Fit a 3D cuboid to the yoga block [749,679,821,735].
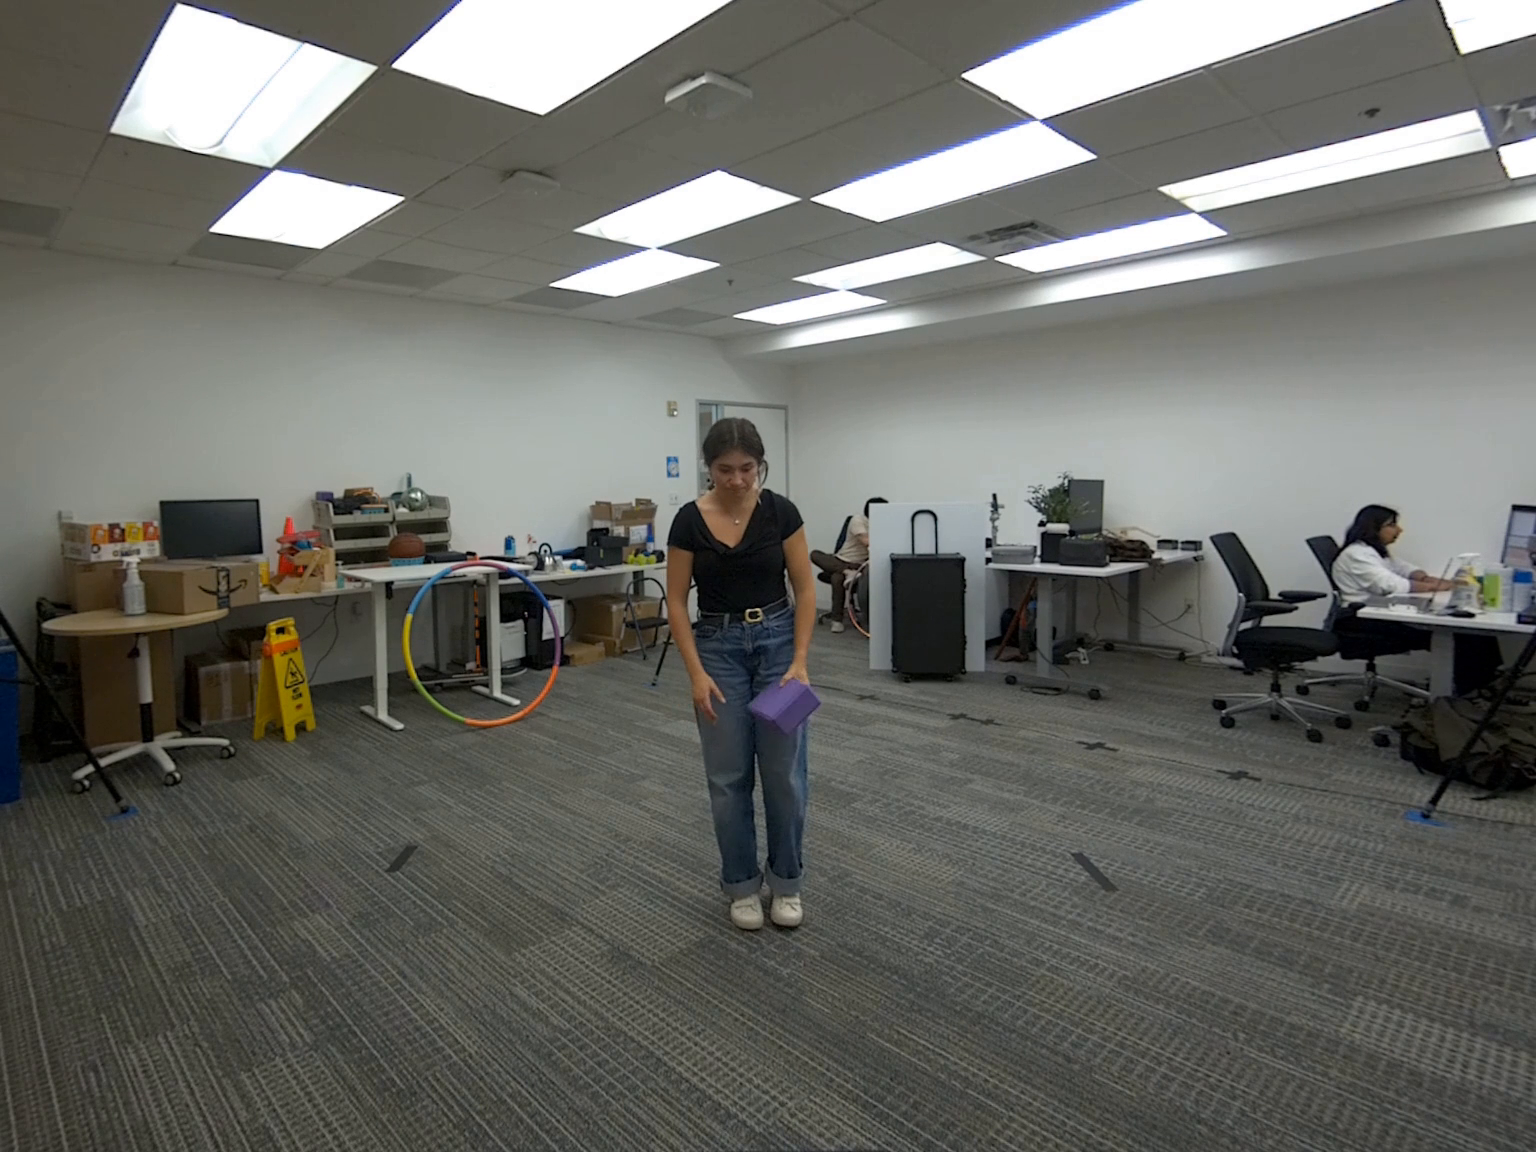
[{"bbox_3d":[0.040,0.382,2.510,0.149,0.075,0.233,-42,13,-14],"label":"yoga block"}]
